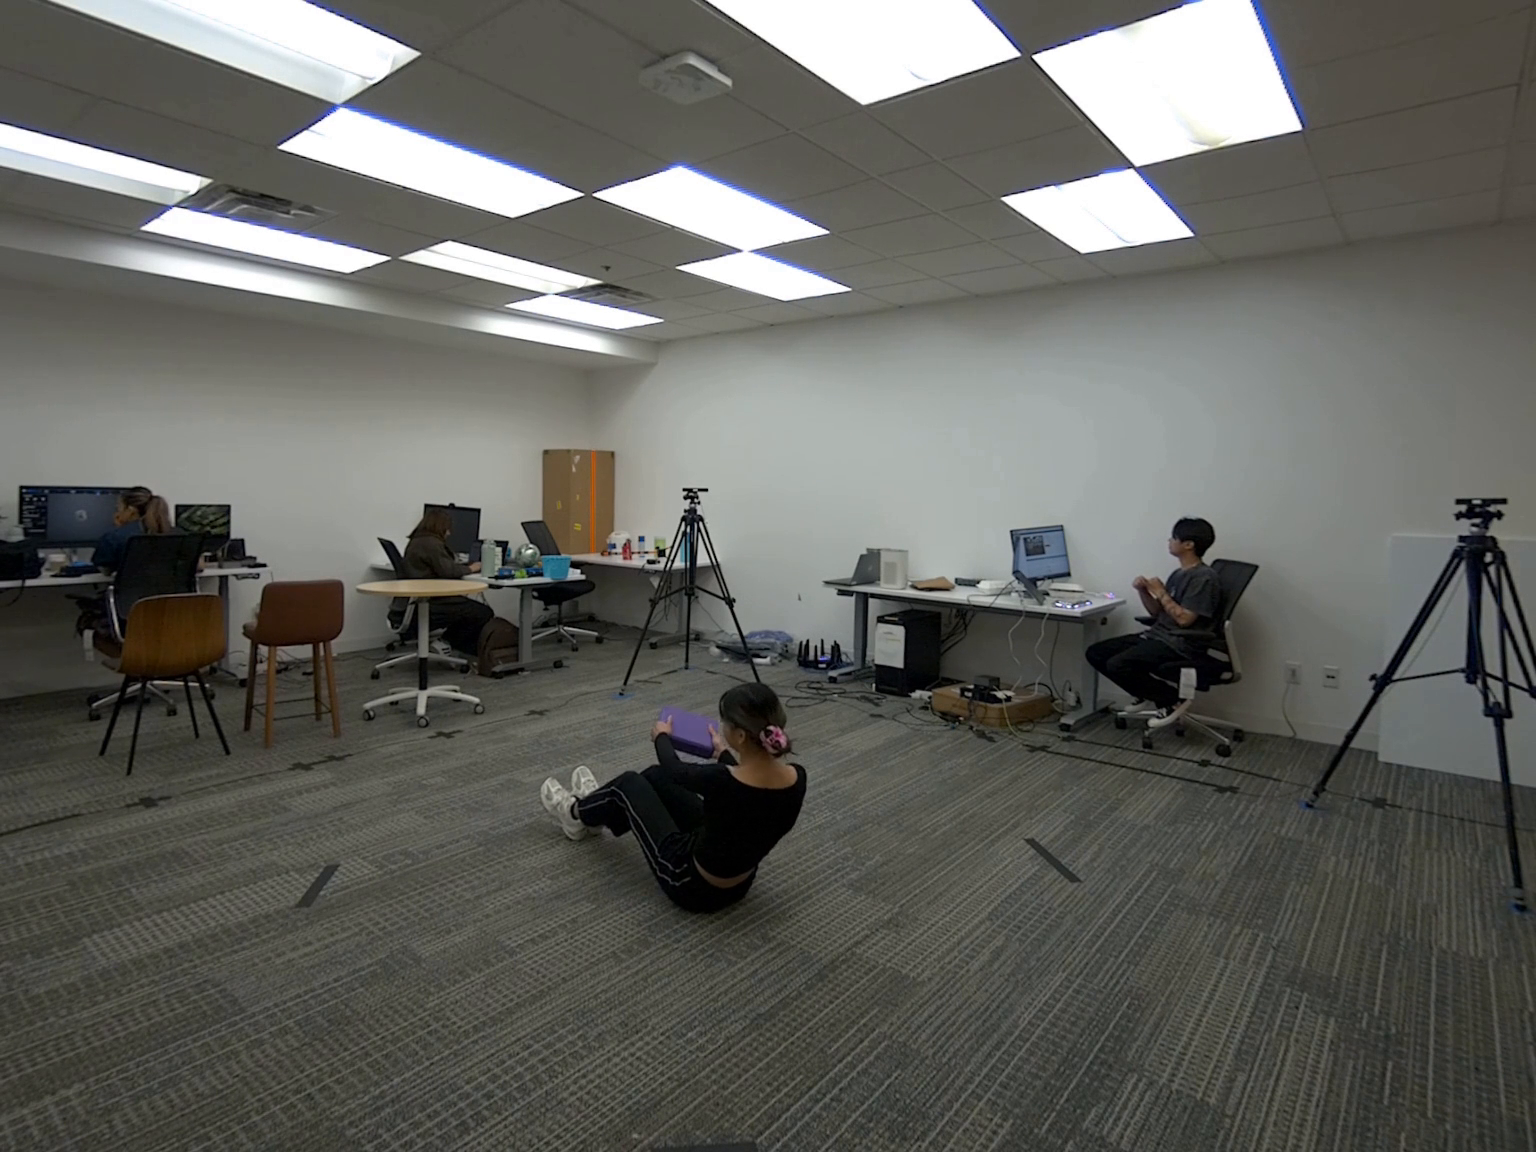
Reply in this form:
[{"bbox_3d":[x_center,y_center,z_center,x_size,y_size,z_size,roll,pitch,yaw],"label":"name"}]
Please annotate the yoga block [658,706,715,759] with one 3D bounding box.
[{"bbox_3d":[-0.310,0.611,3.256,0.226,0.075,0.153,16,39,-13],"label":"yoga block"}]
